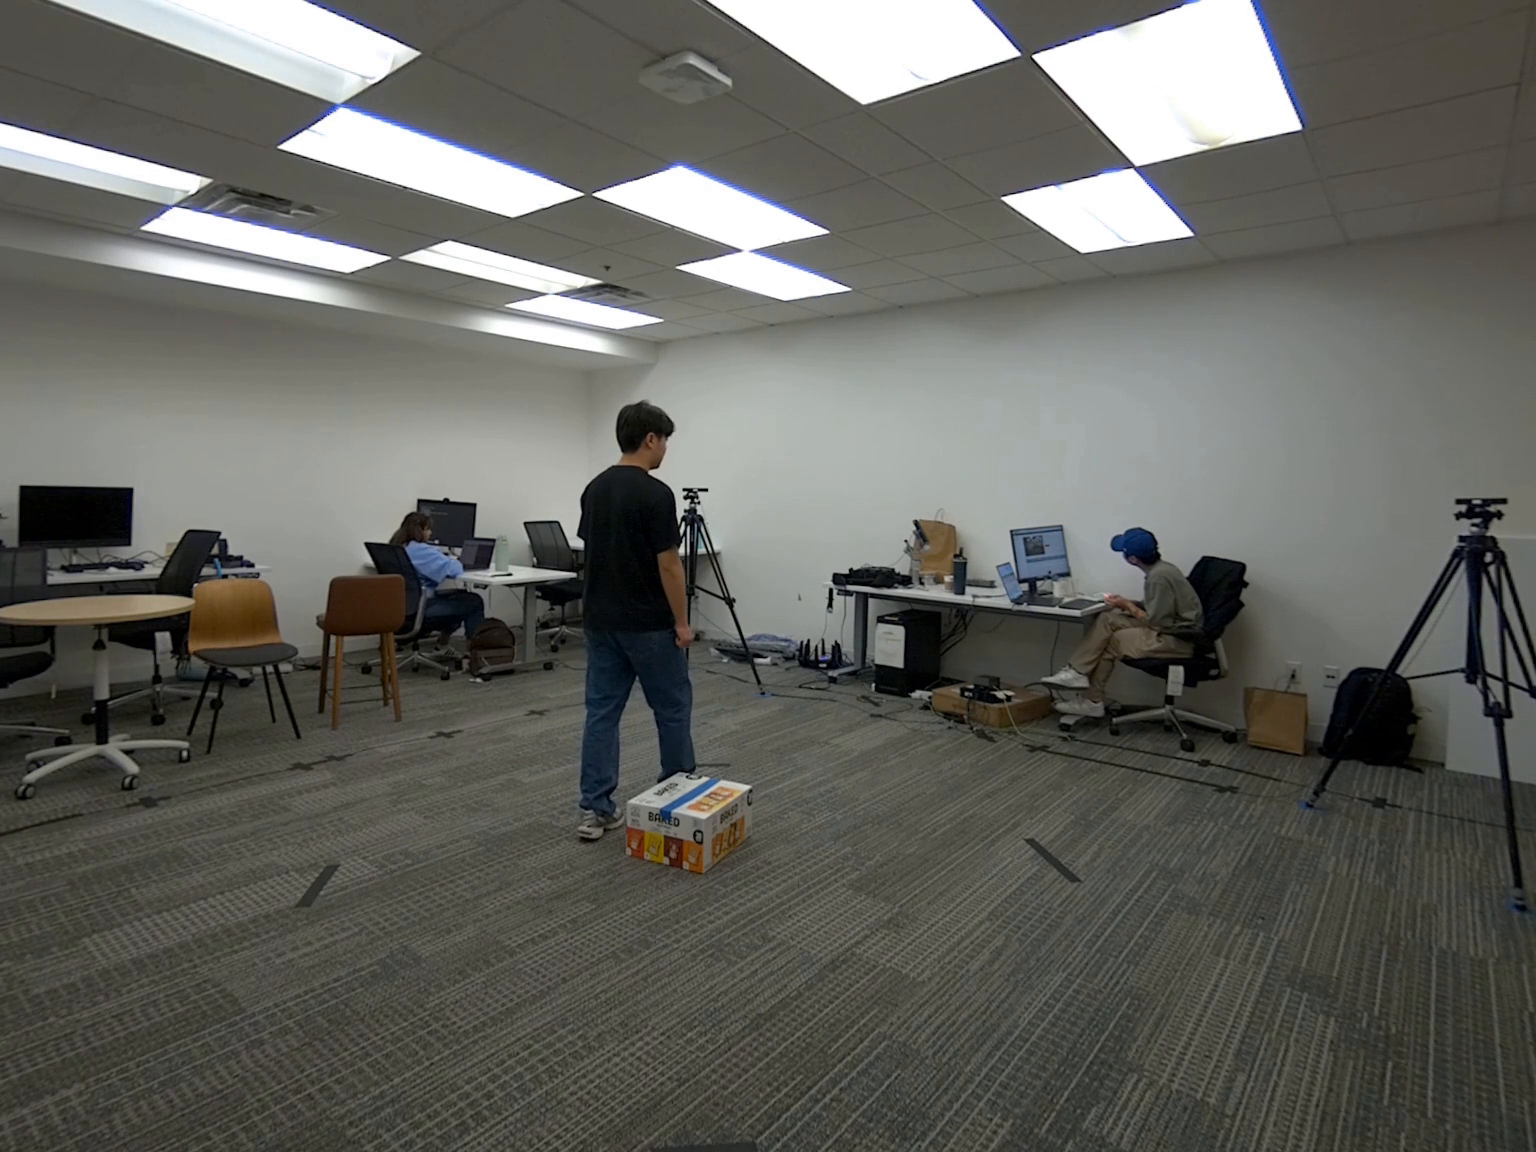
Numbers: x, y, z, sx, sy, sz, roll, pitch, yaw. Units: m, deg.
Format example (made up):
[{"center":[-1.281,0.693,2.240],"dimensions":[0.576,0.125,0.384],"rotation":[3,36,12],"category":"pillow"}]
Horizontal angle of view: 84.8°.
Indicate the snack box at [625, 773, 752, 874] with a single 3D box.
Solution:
[{"center":[-0.310,0.946,3.316],"dimensions":[0.349,0.205,0.396],"rotation":[3,6,26],"category":"snack box"}]
